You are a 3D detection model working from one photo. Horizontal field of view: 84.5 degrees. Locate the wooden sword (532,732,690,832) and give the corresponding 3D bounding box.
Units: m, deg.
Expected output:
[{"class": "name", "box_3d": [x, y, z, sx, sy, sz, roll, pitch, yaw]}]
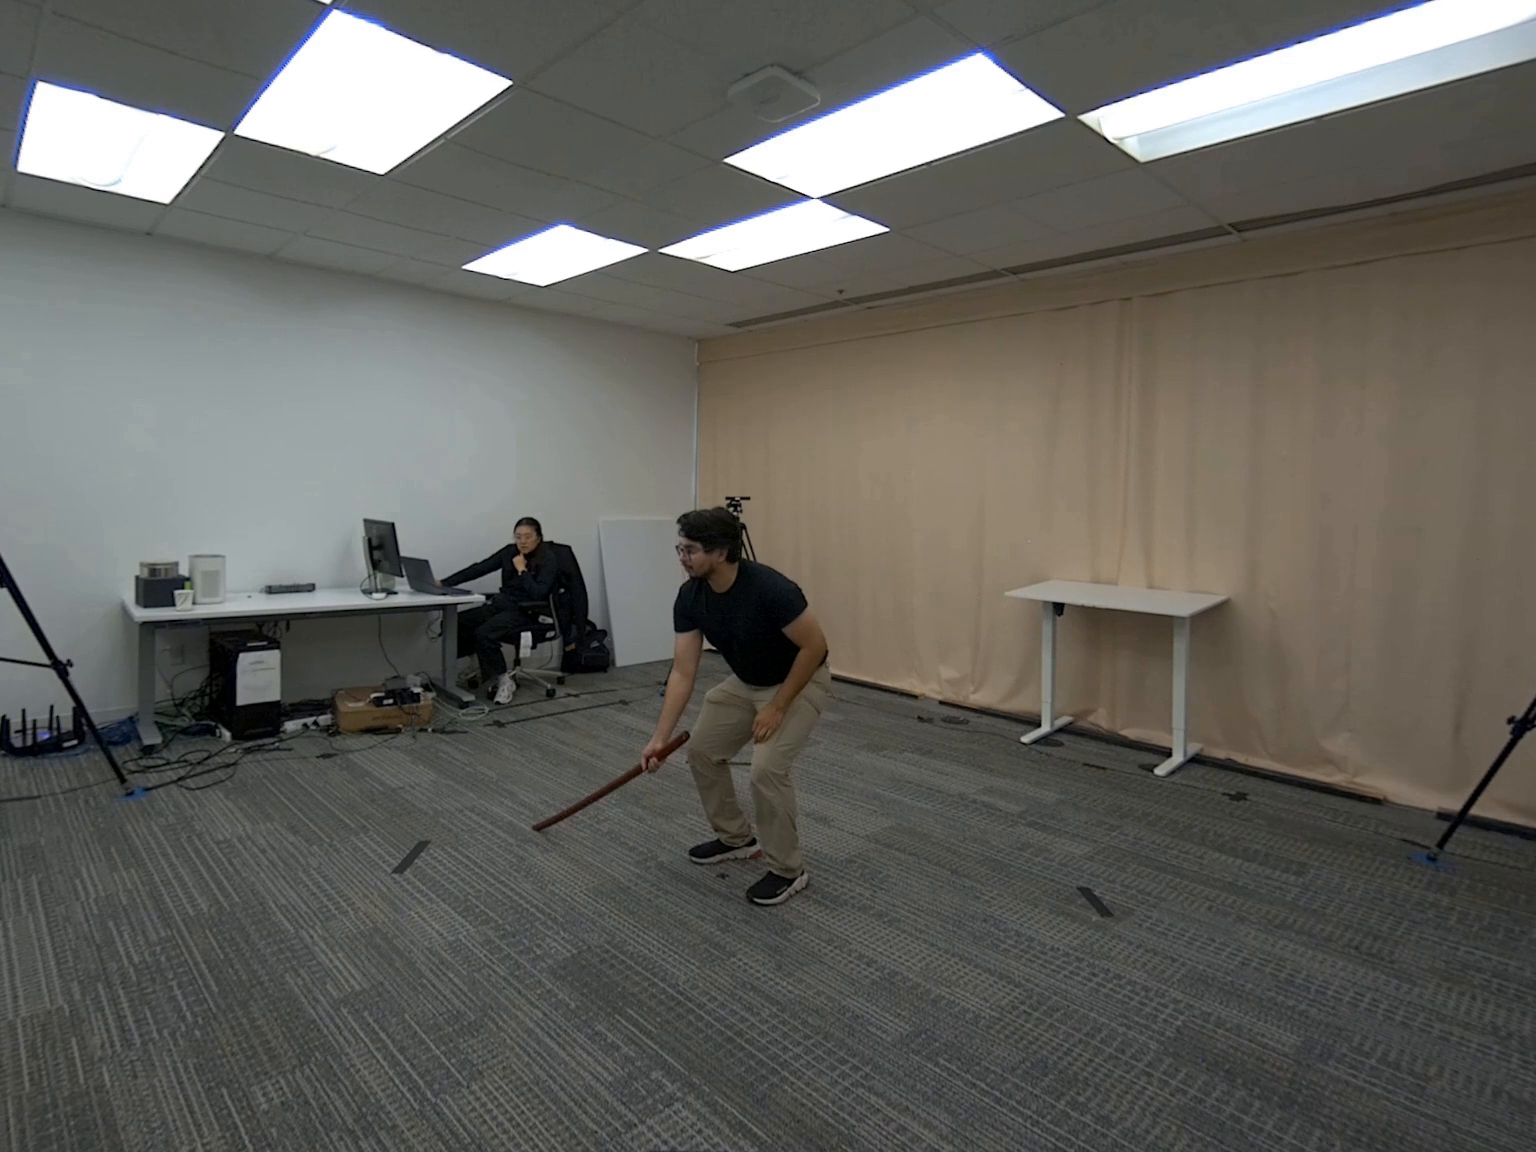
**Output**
[{"class": "wooden sword", "box_3d": [-0.616, 0.809, 3.187, 1.031, 0.024, 0.050, -34, -25, 36]}]
